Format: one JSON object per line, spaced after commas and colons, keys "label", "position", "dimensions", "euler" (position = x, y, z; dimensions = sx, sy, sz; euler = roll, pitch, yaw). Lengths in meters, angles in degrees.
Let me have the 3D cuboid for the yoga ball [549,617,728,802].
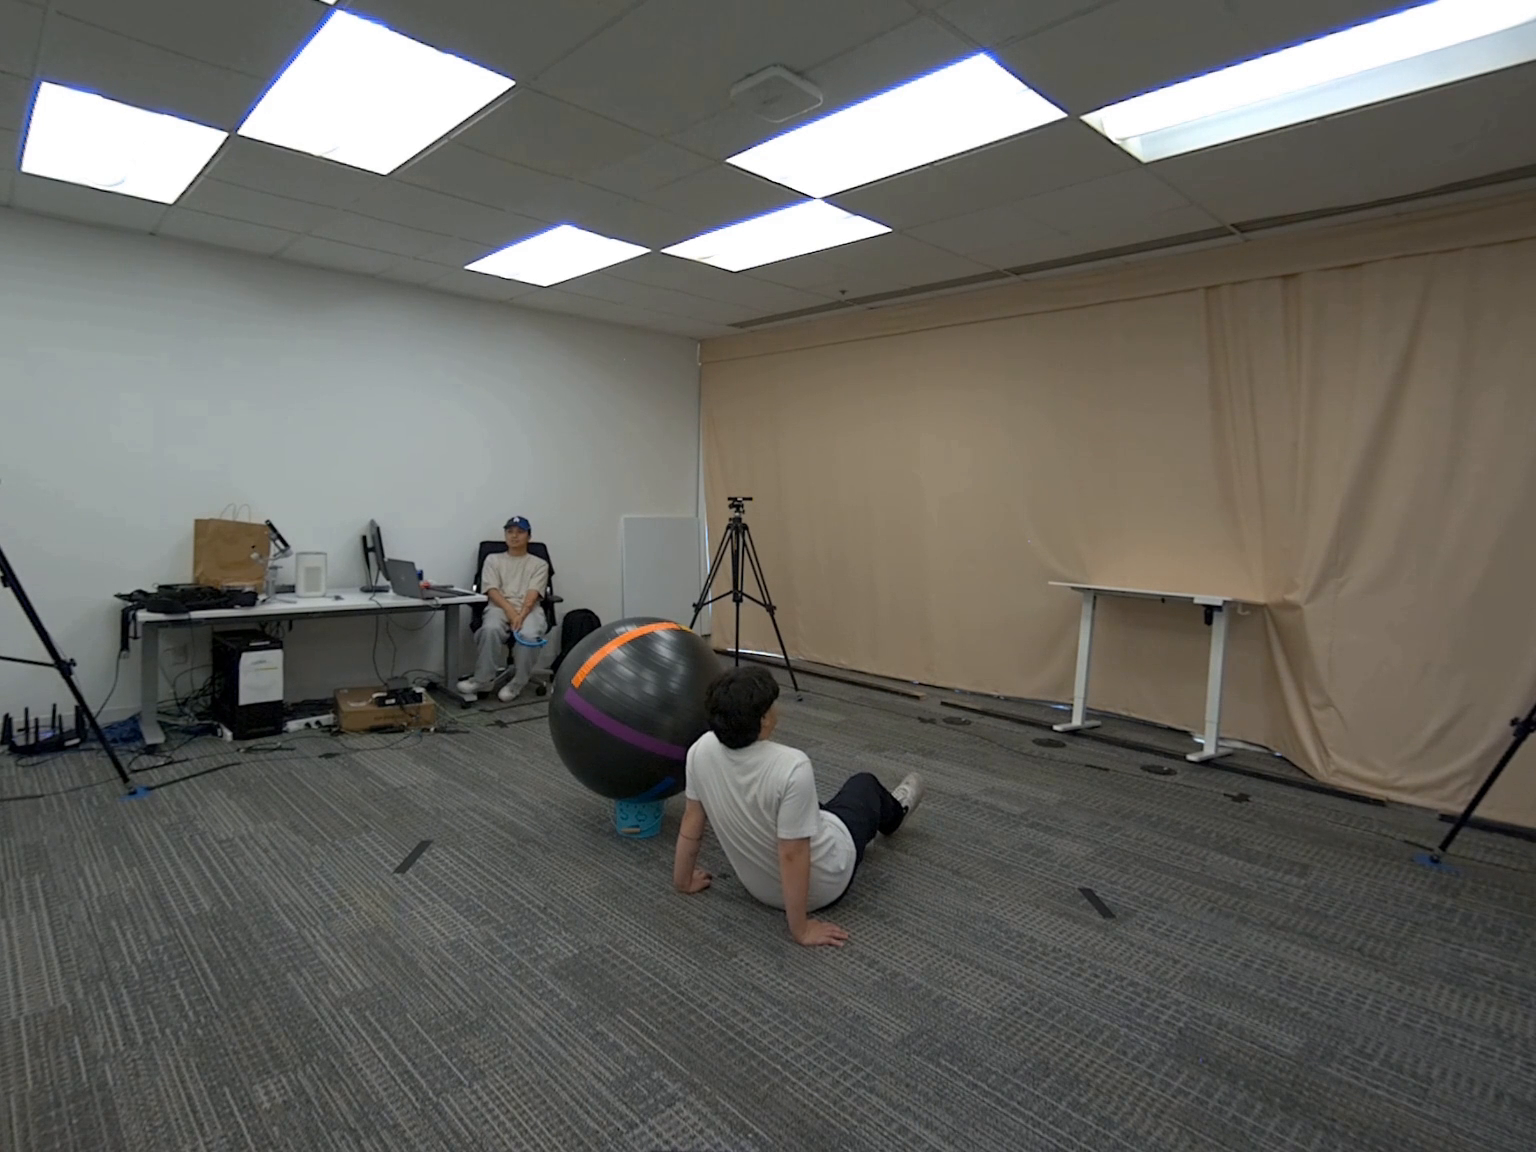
{"label": "yoga ball", "position": [-0.533, 0.550, 3.515], "dimensions": [0.757, 0.756, 0.761], "euler": [1, 4, -1]}
